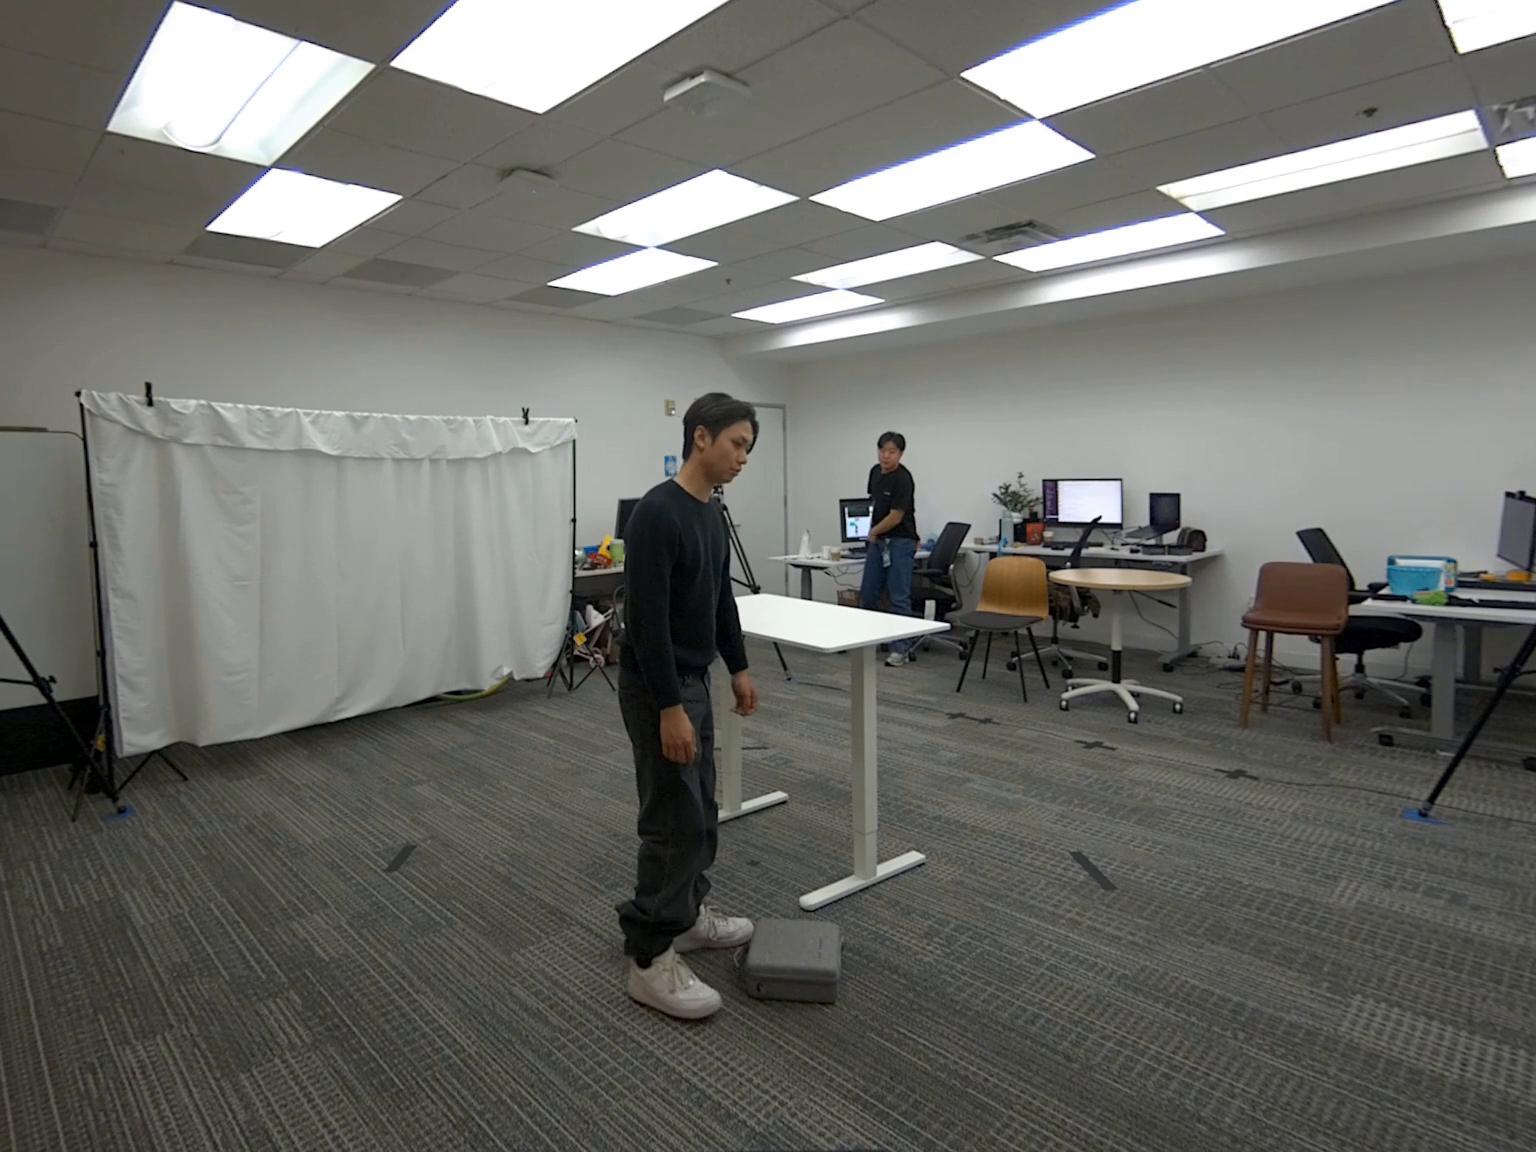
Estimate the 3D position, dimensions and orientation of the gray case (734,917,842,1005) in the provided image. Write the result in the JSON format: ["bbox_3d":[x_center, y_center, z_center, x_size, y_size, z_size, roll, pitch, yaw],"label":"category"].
[{"bbox_3d":[0.080,1.070,2.389,0.263,0.104,0.256,-1,6,9],"label":"gray case"}]
